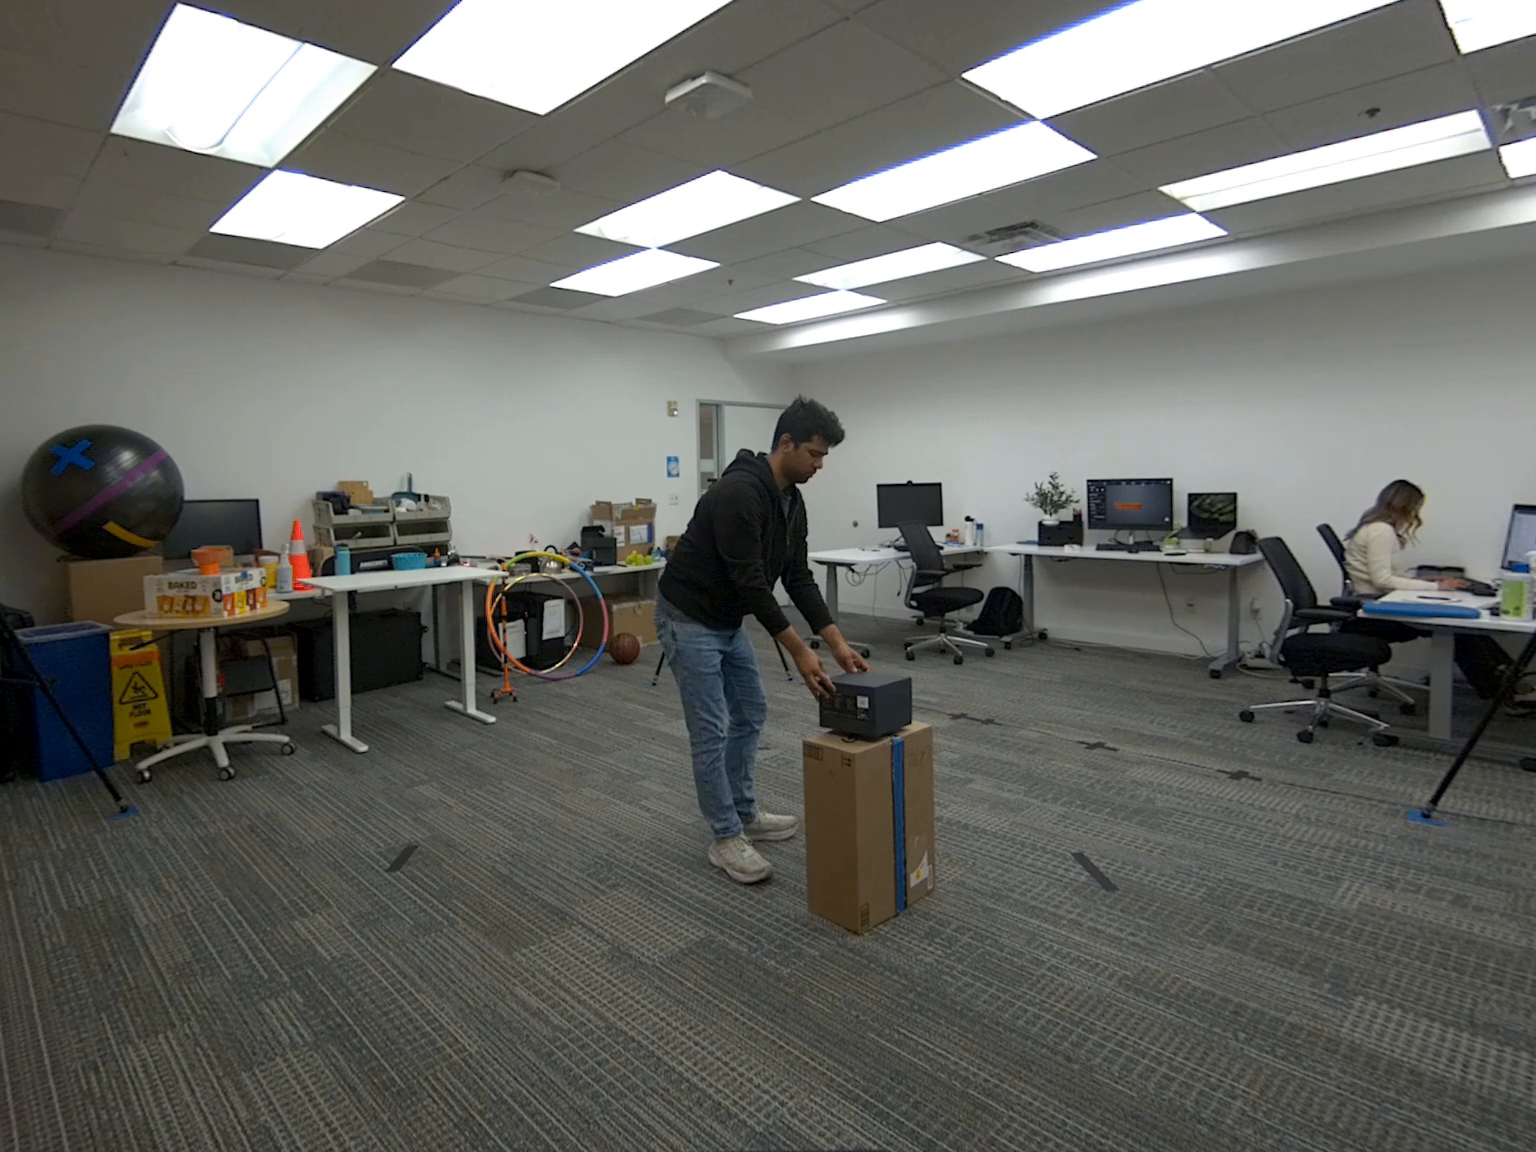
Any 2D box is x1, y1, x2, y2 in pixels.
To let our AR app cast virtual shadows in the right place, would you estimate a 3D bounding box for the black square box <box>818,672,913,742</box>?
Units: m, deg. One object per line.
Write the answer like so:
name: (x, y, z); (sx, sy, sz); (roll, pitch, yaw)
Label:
black square box: (0.327, 0.405, 2.814); (0.223, 0.156, 0.222); (-1, 2, 40)
